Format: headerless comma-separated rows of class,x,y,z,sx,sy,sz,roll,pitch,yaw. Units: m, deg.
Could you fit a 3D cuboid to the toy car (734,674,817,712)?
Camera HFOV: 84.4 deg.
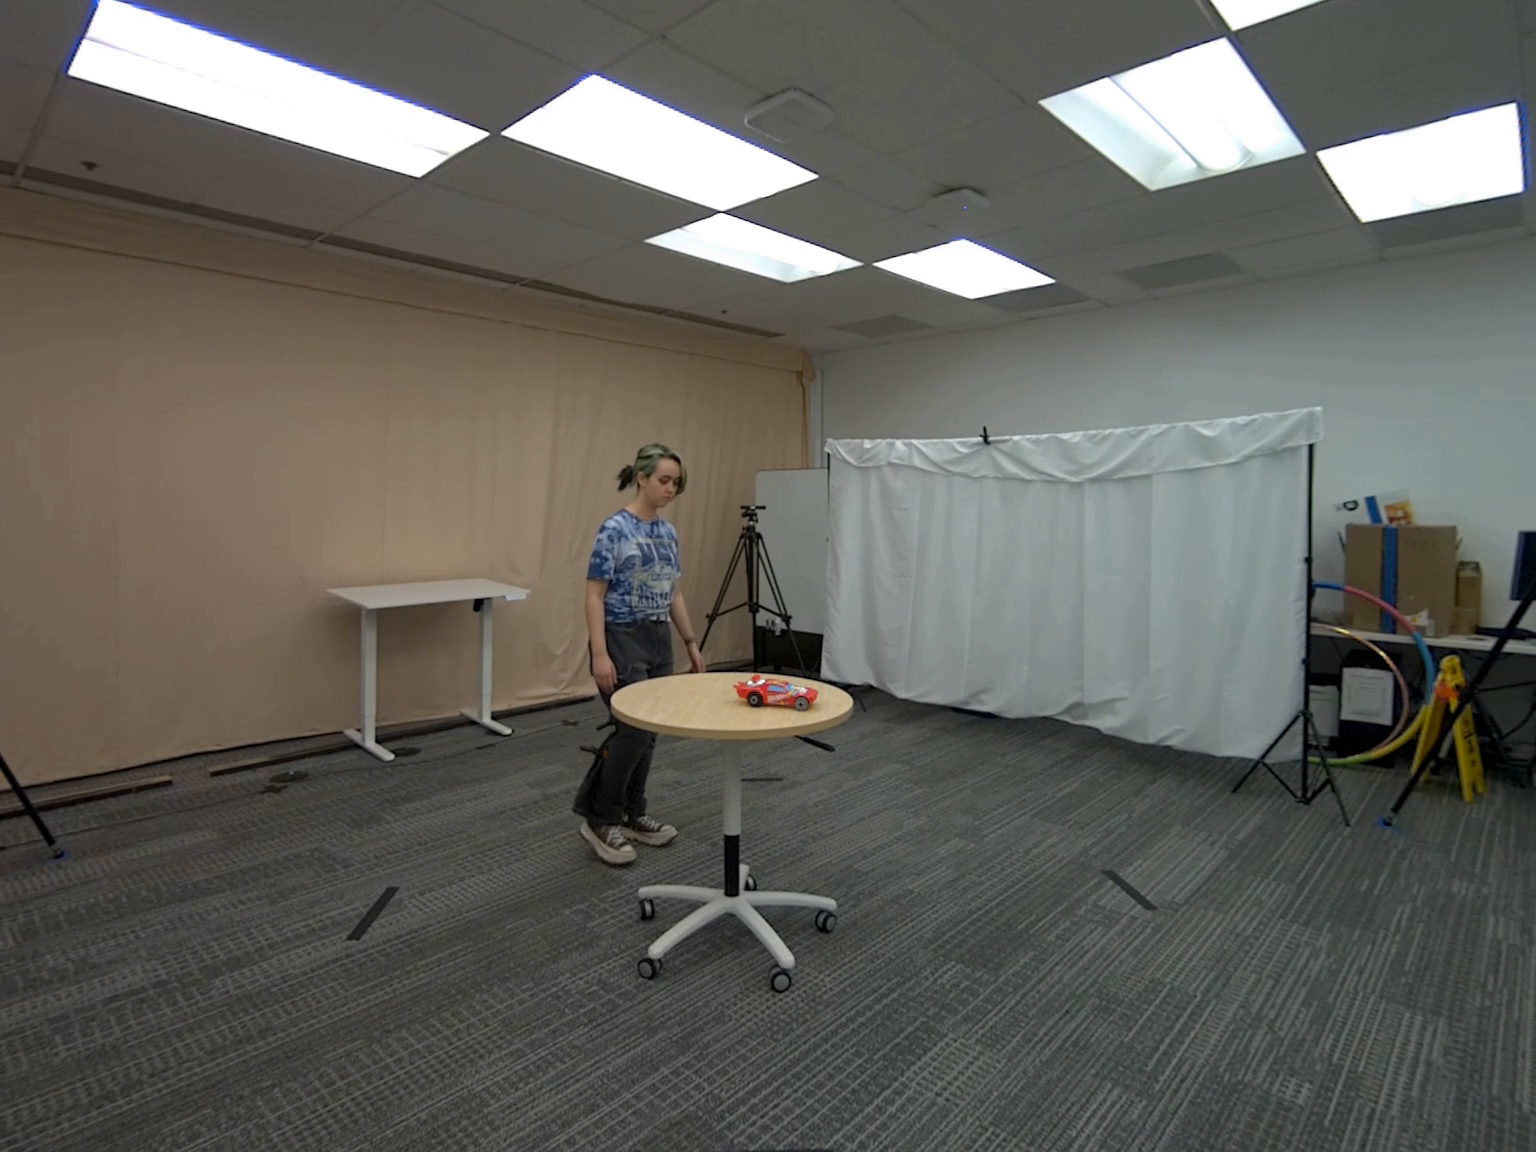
toy car,0.025,0.365,2.579,0.259,0.083,0.128,13,7,16
